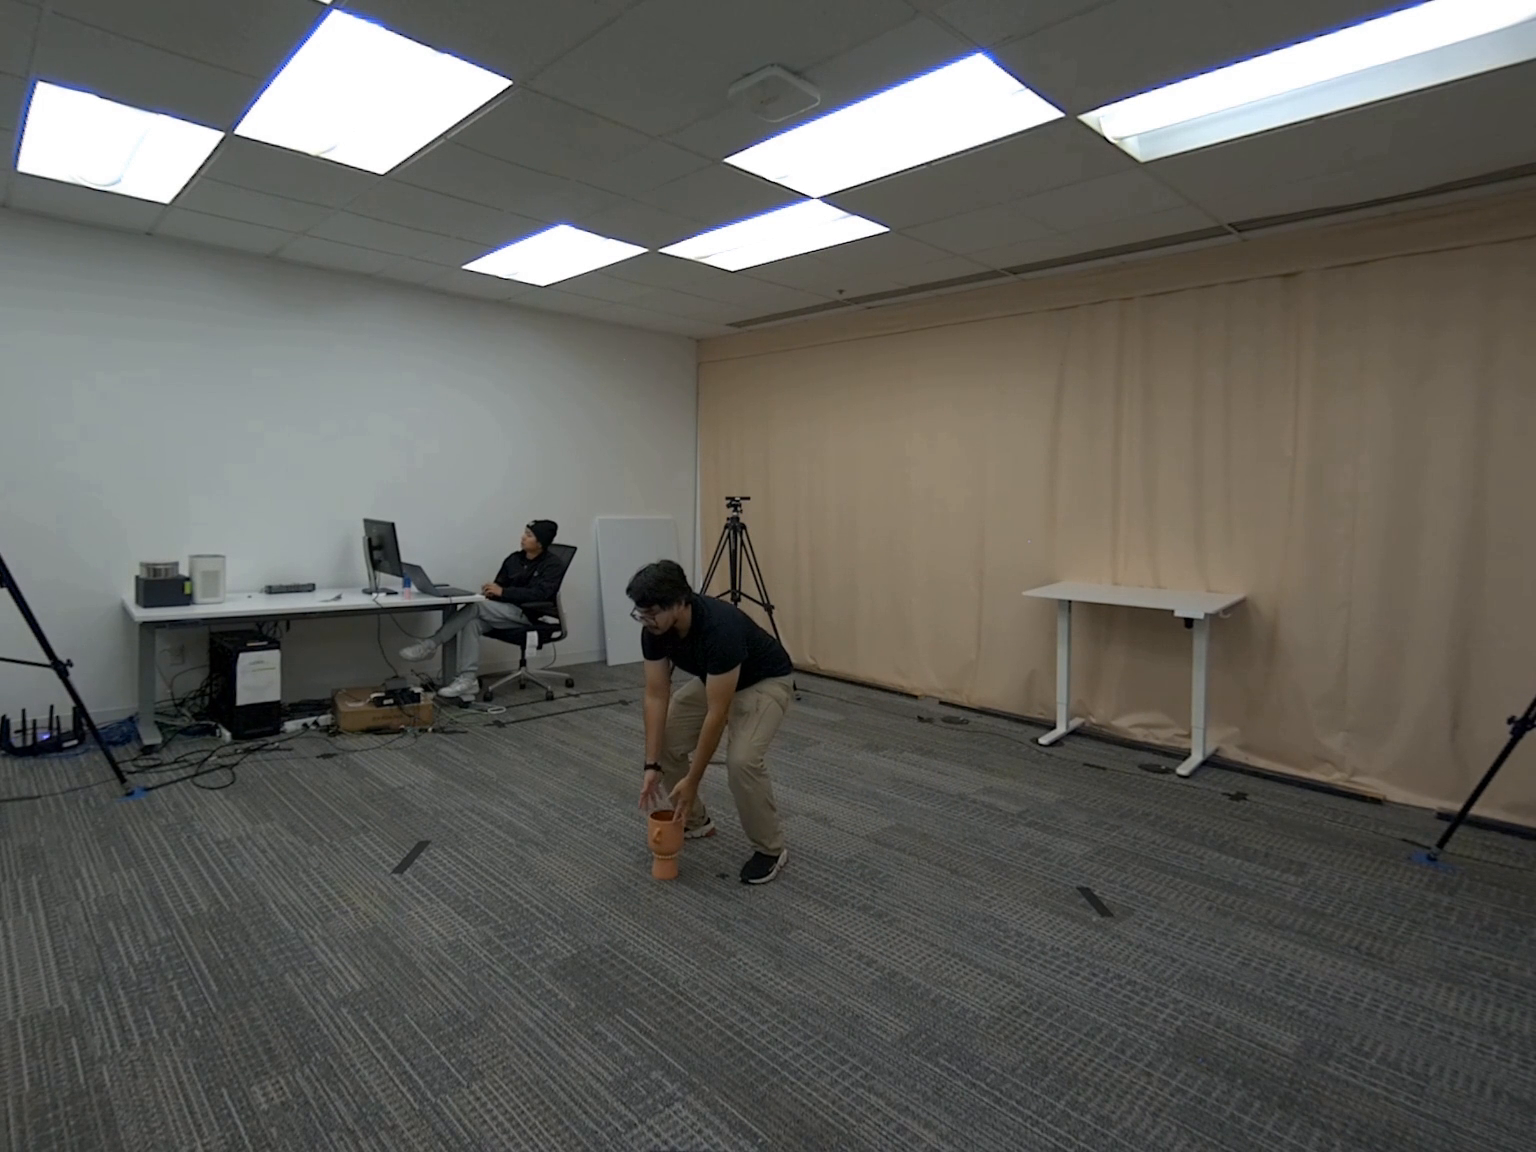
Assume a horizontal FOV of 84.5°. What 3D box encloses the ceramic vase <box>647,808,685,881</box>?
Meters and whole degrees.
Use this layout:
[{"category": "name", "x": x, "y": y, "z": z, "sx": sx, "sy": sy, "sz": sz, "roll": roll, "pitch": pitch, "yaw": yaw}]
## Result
[{"category": "ceramic vase", "x": -0.385, "y": 0.987, "z": 3.099, "sx": 0.155, "sy": 0.219, "sz": 0.138, "roll": 0, "pitch": 3, "yaw": -32}]
